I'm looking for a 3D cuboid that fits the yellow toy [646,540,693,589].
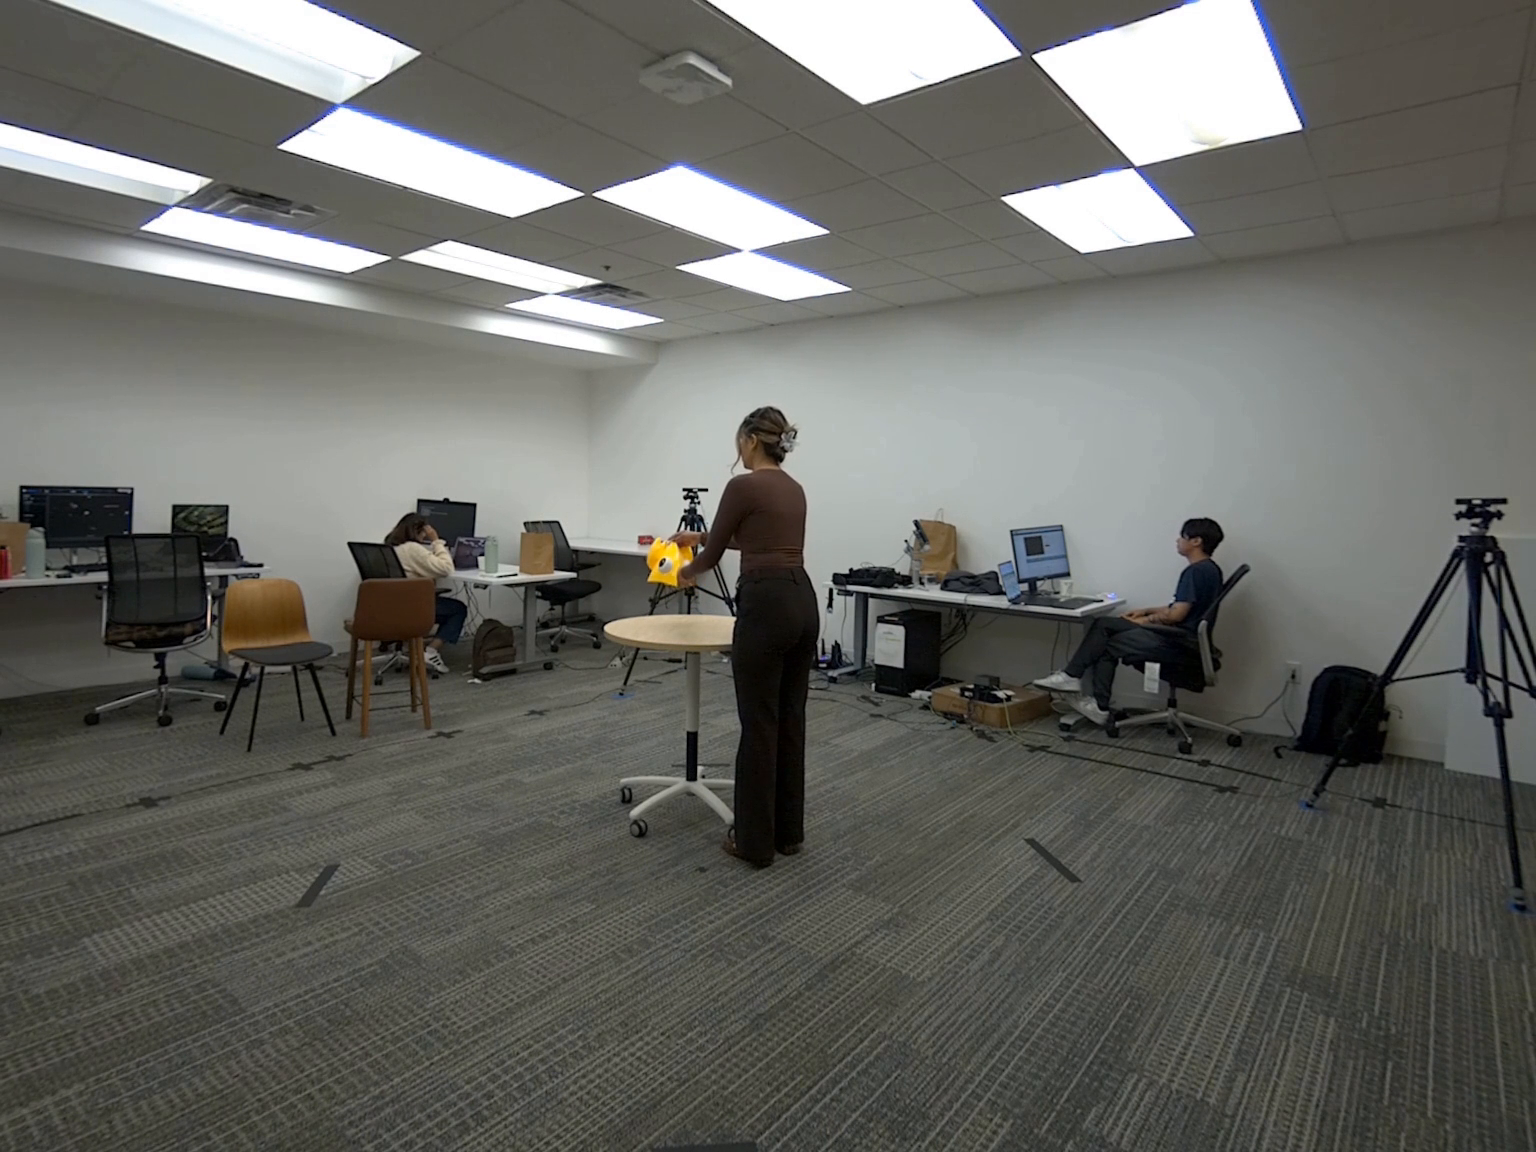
[{"bbox_3d":[-0.414,-0.046,3.702,0.200,0.191,0.237,7,13,-19],"label":"yellow toy"}]
